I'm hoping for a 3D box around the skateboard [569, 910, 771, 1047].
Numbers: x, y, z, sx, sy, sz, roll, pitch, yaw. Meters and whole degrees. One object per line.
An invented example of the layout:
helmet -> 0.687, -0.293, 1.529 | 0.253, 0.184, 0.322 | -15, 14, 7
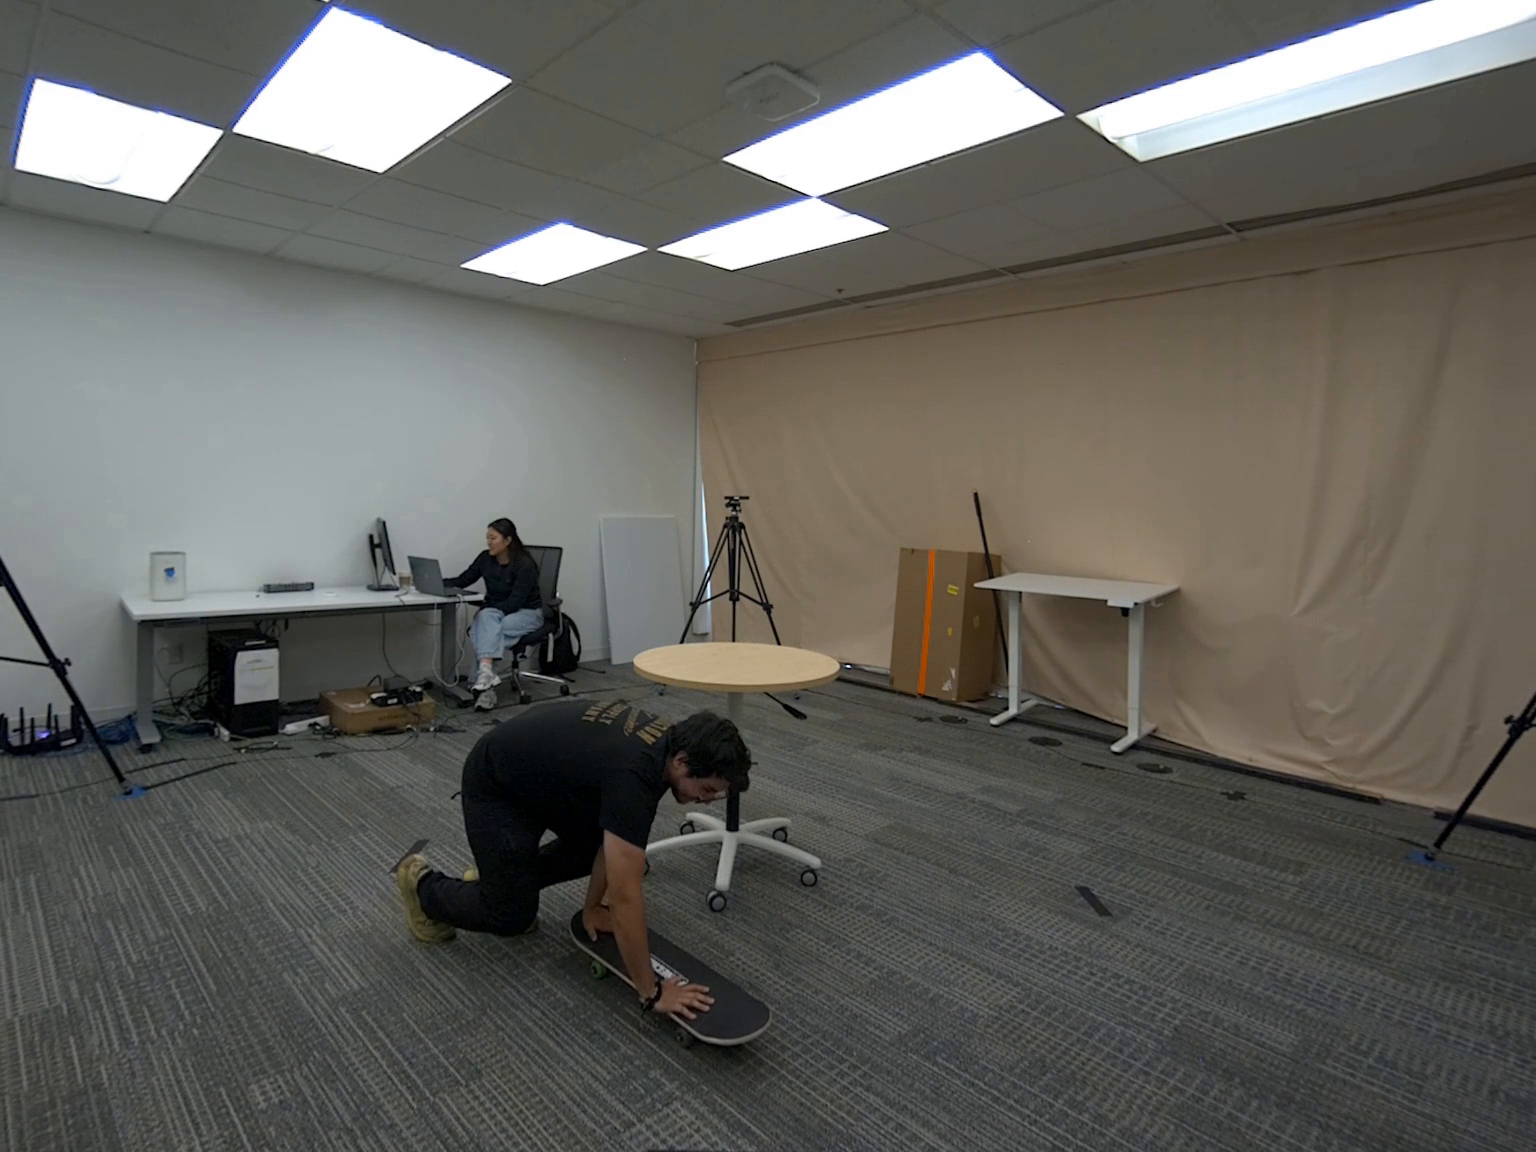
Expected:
skateboard -> -0.297, 1.124, 2.320 | 0.189, 0.110, 0.806 | -9, 11, -41
